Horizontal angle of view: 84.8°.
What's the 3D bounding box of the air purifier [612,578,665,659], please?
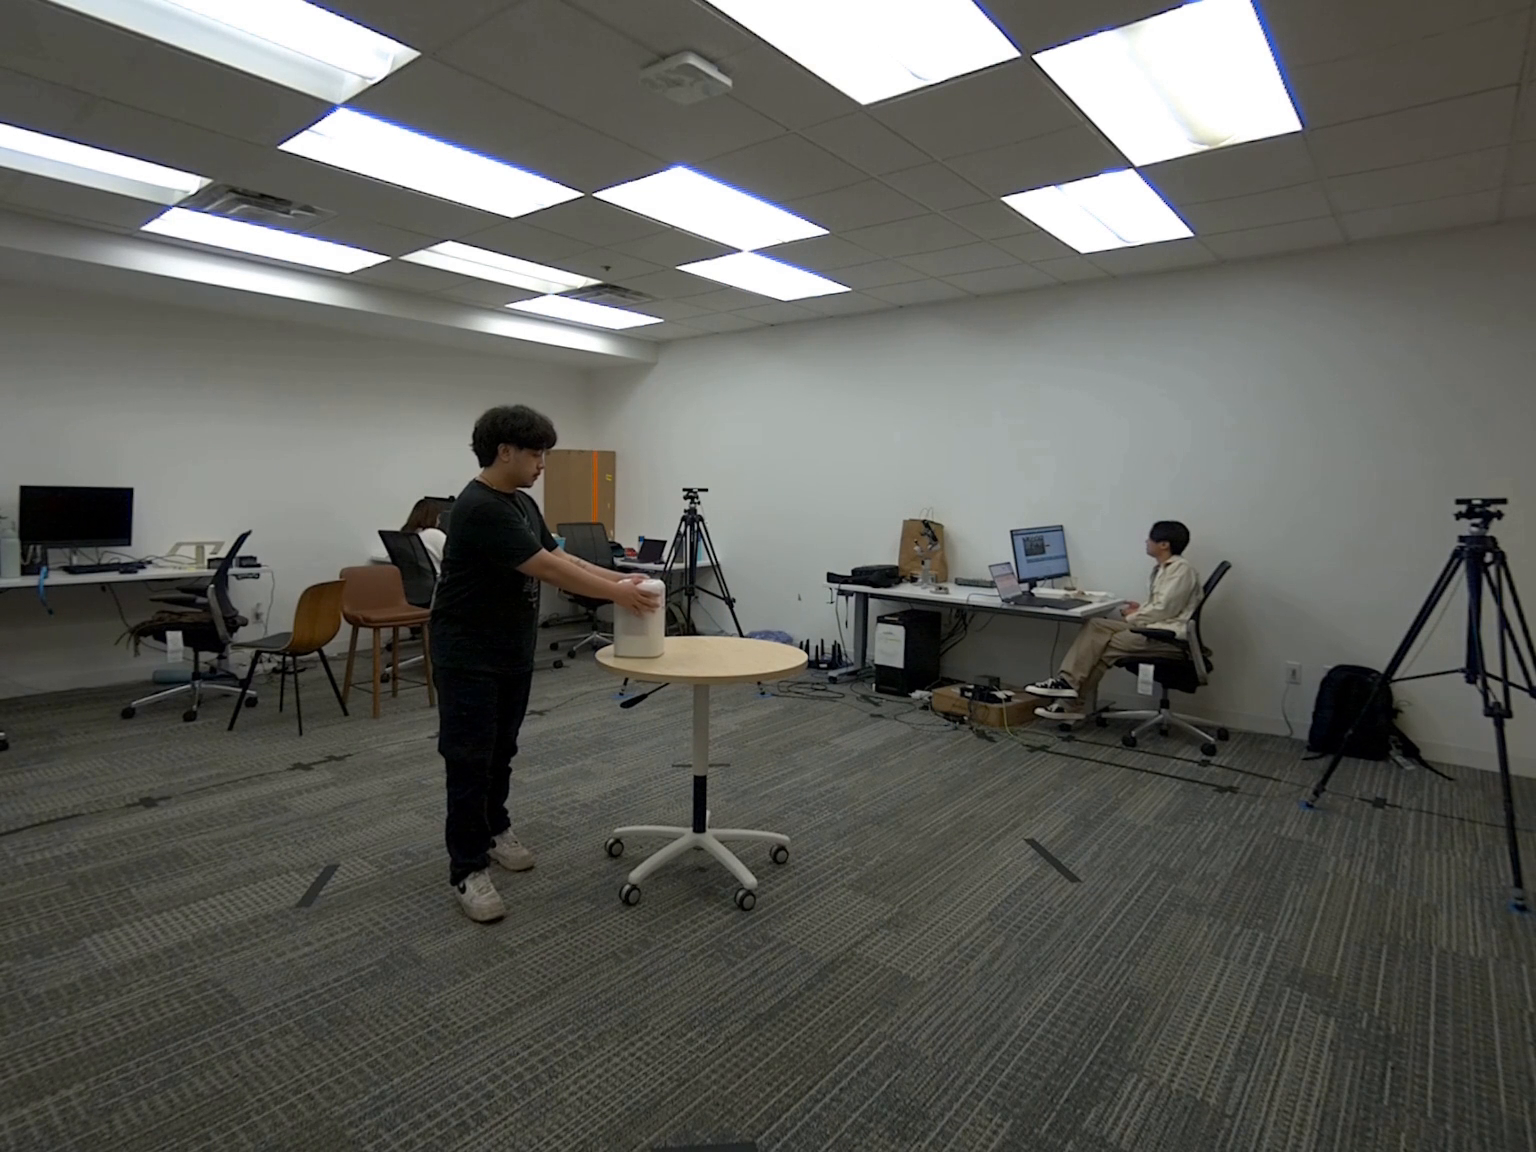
[{"bbox_3d":[-0.477,0.150,3.055,0.173,0.264,0.170,1,4,6],"label":"air purifier"}]
